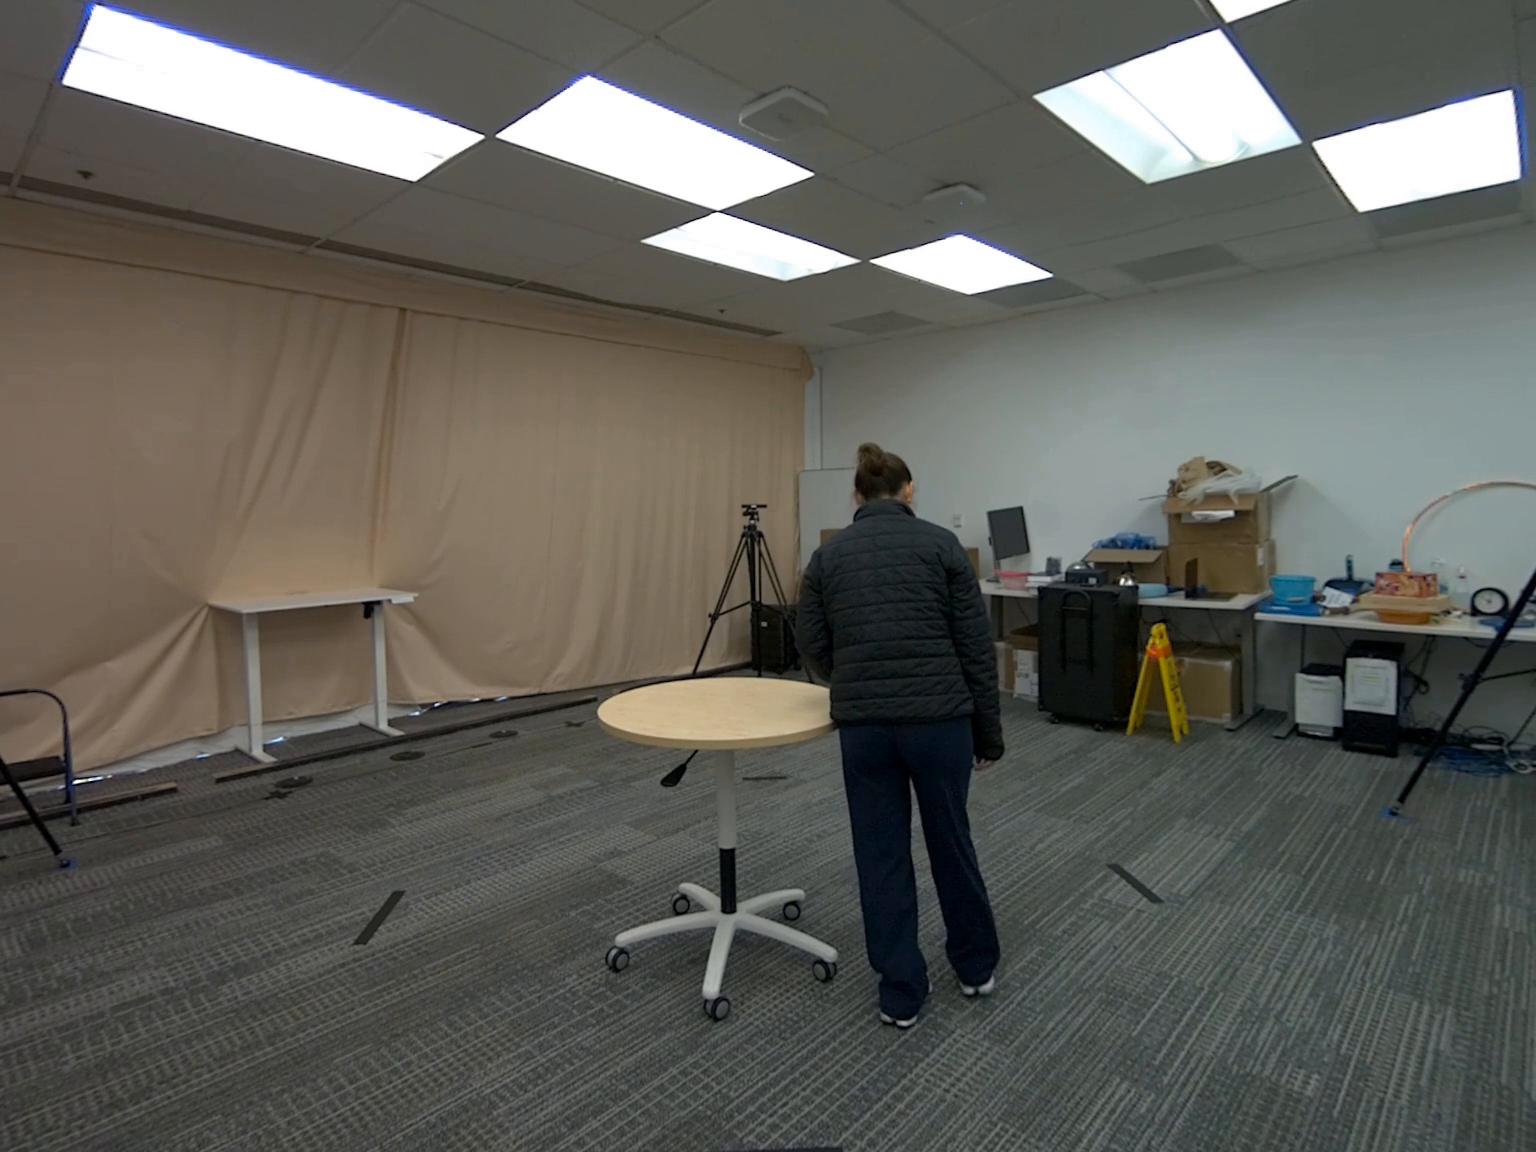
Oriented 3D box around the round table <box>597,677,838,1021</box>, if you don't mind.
[{"bbox_3d":[-0.094,0.779,2.599,0.784,0.784,0.788,-1,4,-2],"label":"round table"}]
